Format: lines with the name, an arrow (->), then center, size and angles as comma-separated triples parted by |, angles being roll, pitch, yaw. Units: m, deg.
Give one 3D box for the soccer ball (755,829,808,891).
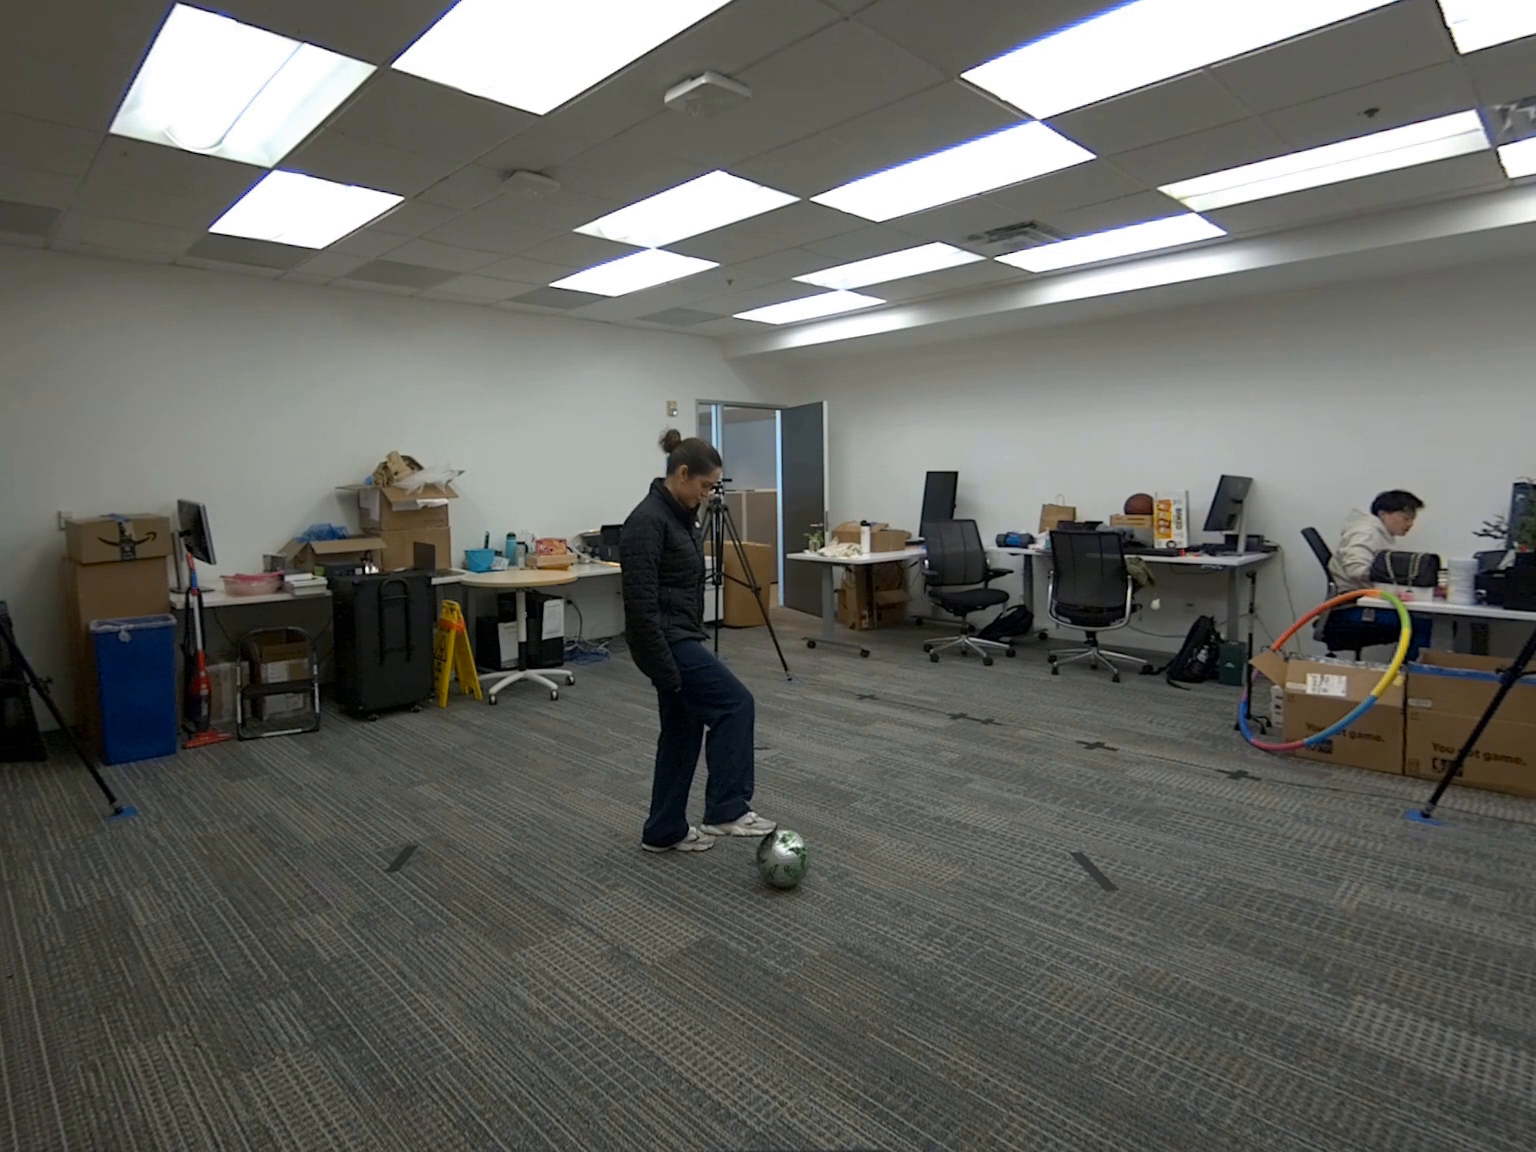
soccer ball -> 0.061, 0.960, 2.933 | 0.187, 0.187, 0.188 | -1, 5, -2
